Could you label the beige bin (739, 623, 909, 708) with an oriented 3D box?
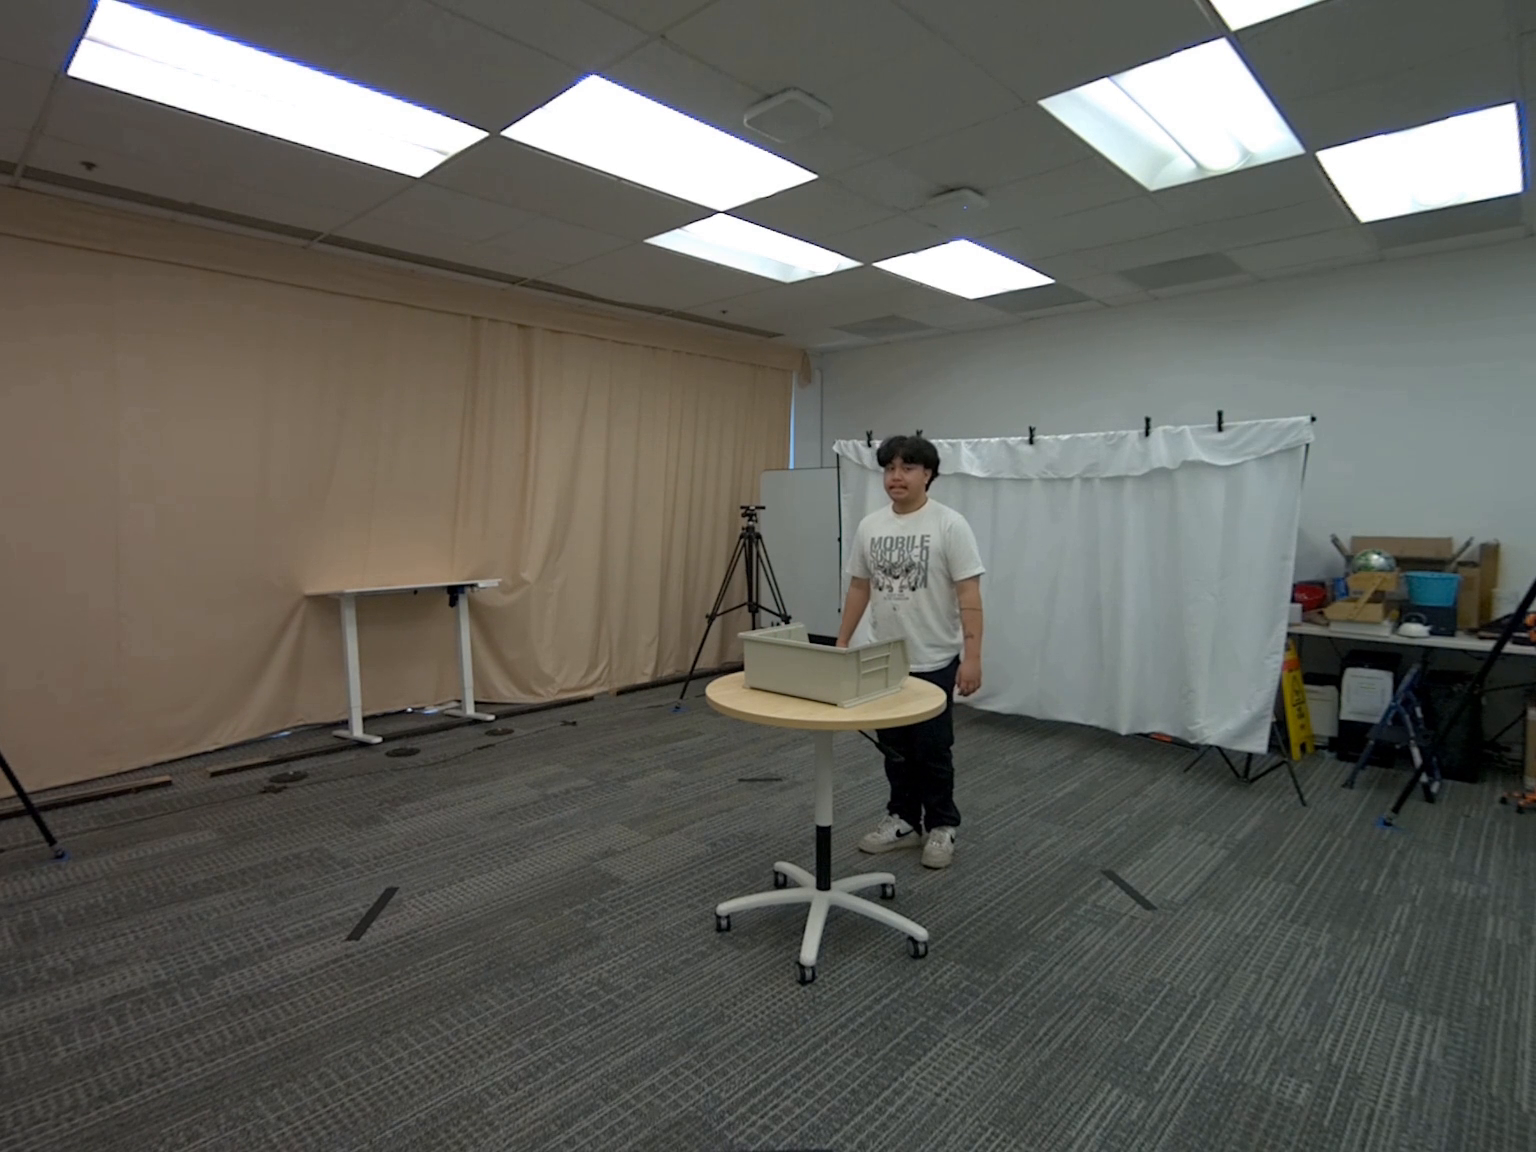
[{"bbox_3d":[0.191,0.281,2.743,0.436,0.188,0.366,5,8,41],"label":"beige bin"}]
